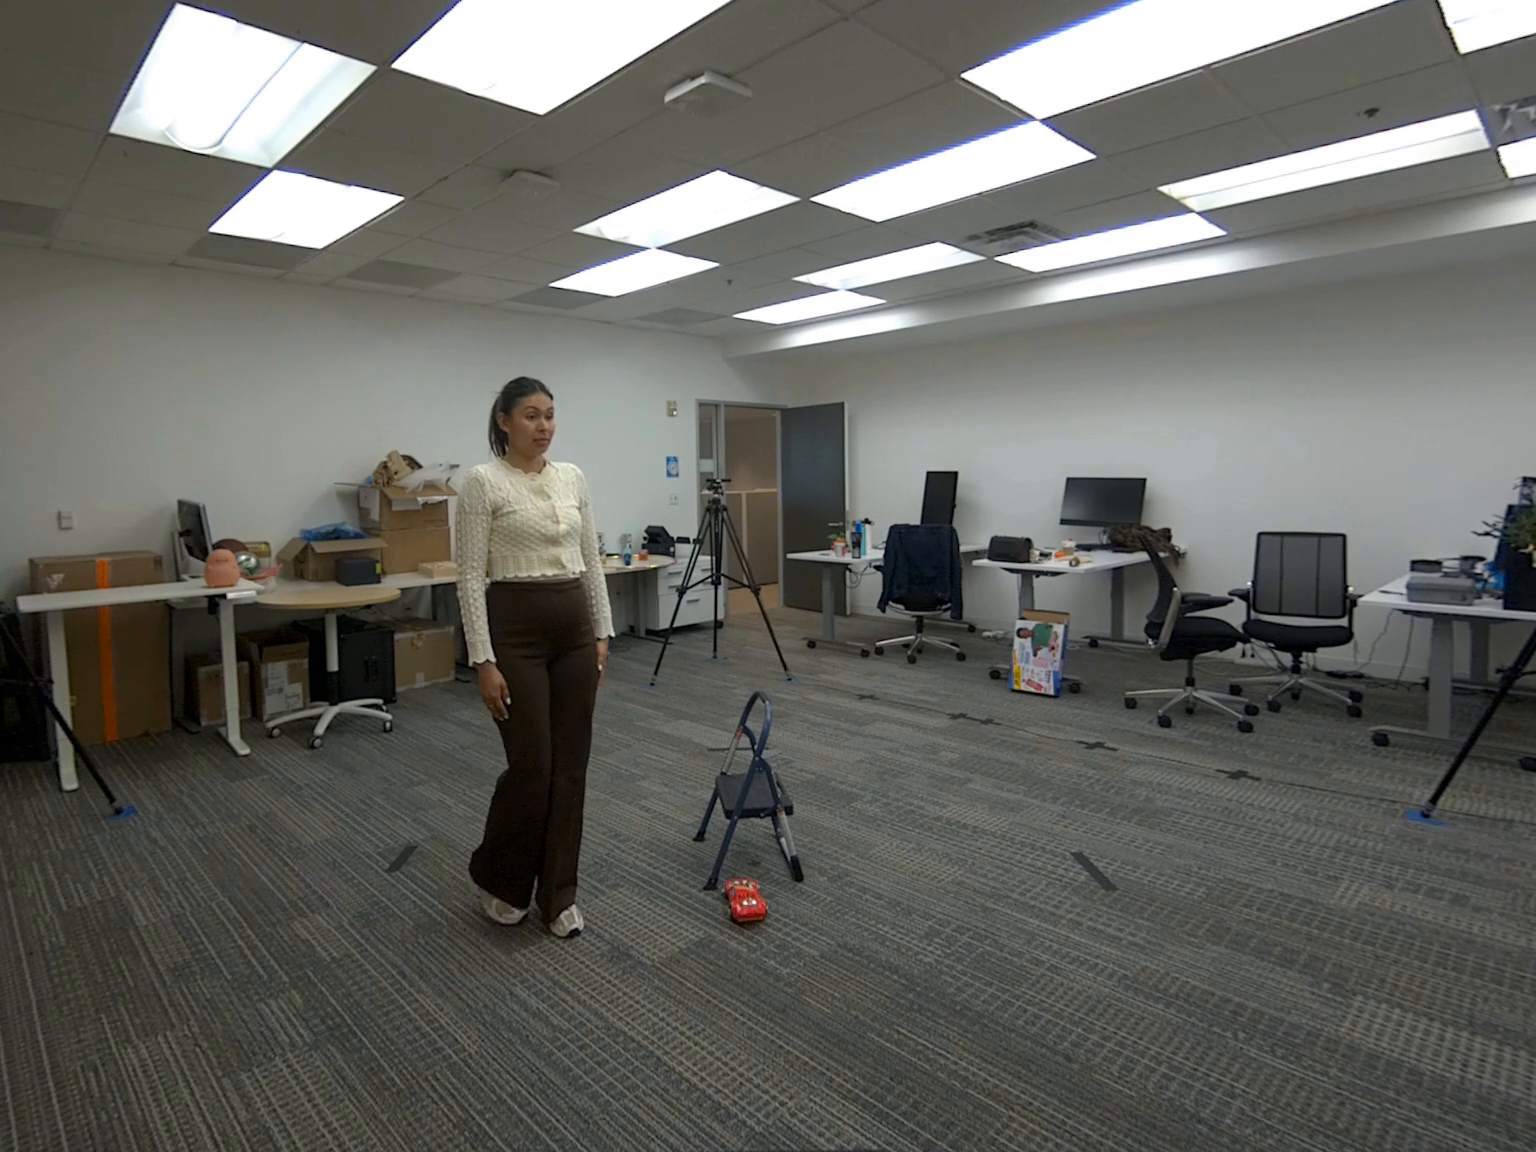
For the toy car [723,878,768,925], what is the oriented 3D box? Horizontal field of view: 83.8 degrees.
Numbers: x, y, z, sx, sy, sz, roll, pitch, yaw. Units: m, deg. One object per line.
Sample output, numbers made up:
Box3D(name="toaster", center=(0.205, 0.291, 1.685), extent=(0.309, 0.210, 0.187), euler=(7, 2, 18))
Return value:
Box3D(name="toy car", center=(-0.071, 1.055, 2.762), extent=(0.129, 0.084, 0.255), euler=(-3, -5, -9))
